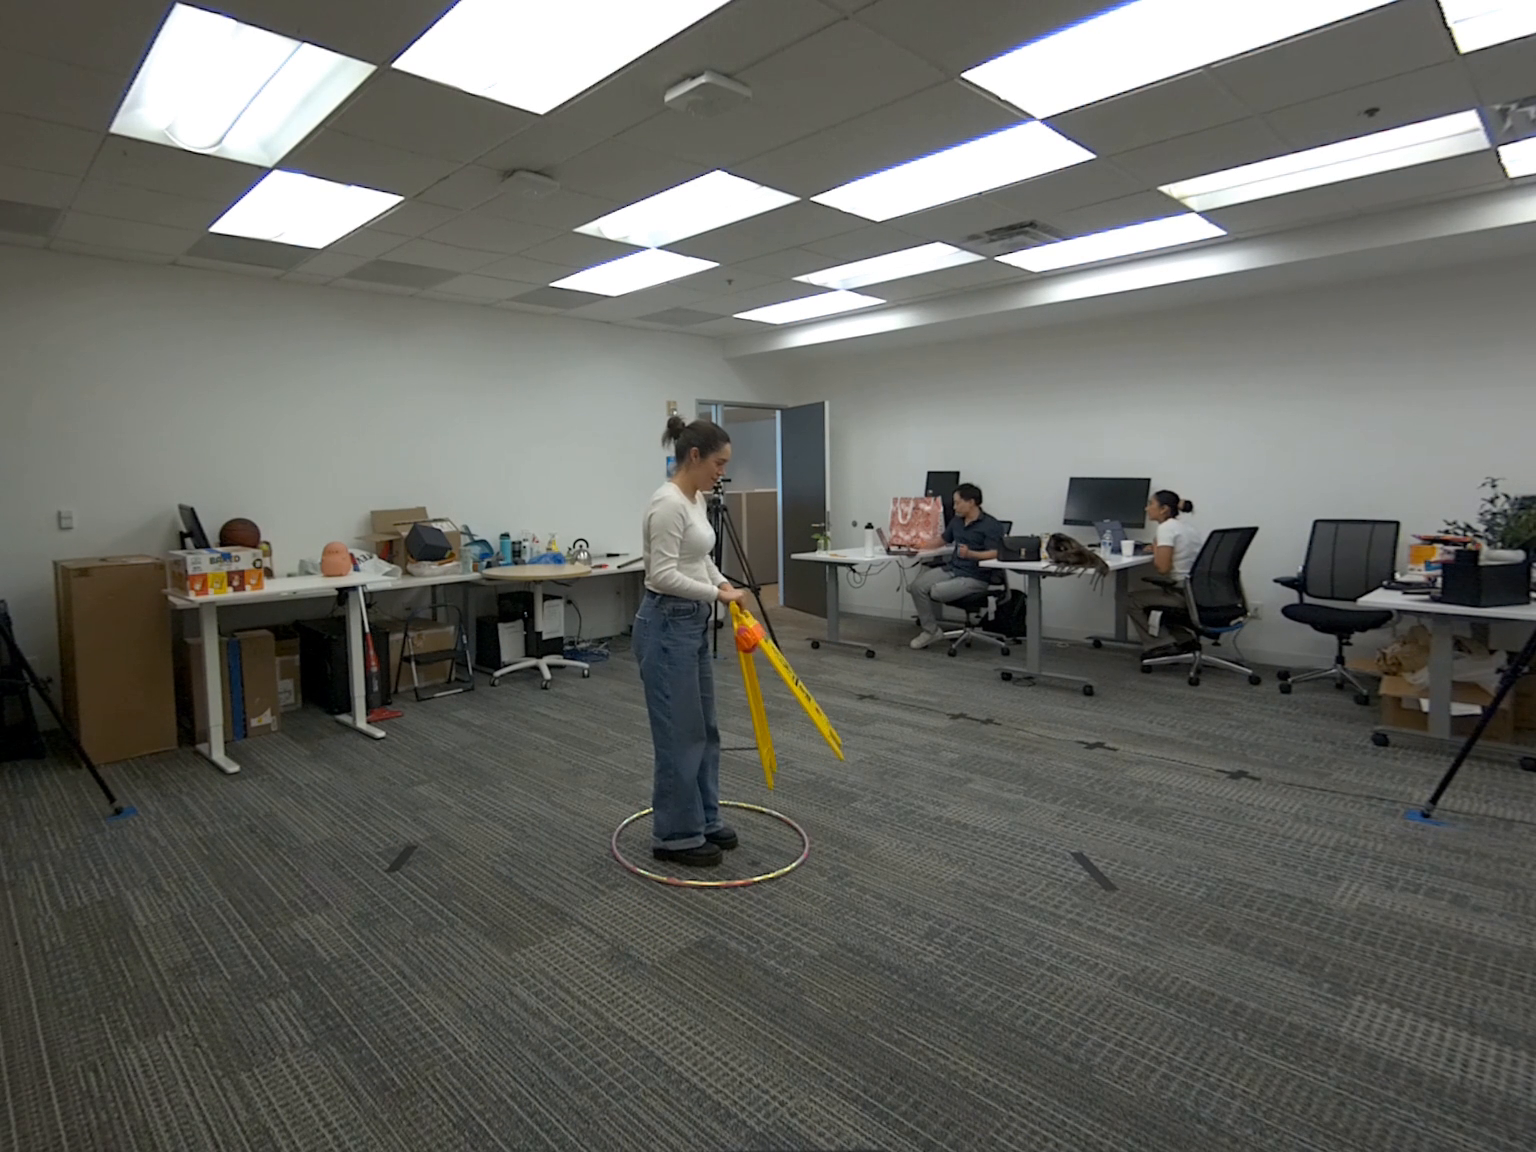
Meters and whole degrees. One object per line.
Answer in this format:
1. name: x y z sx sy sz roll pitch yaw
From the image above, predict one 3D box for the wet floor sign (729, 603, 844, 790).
1. wet floor sign: 0.005 0.385 3.064 0.290 0.646 0.281 -23 0 5
